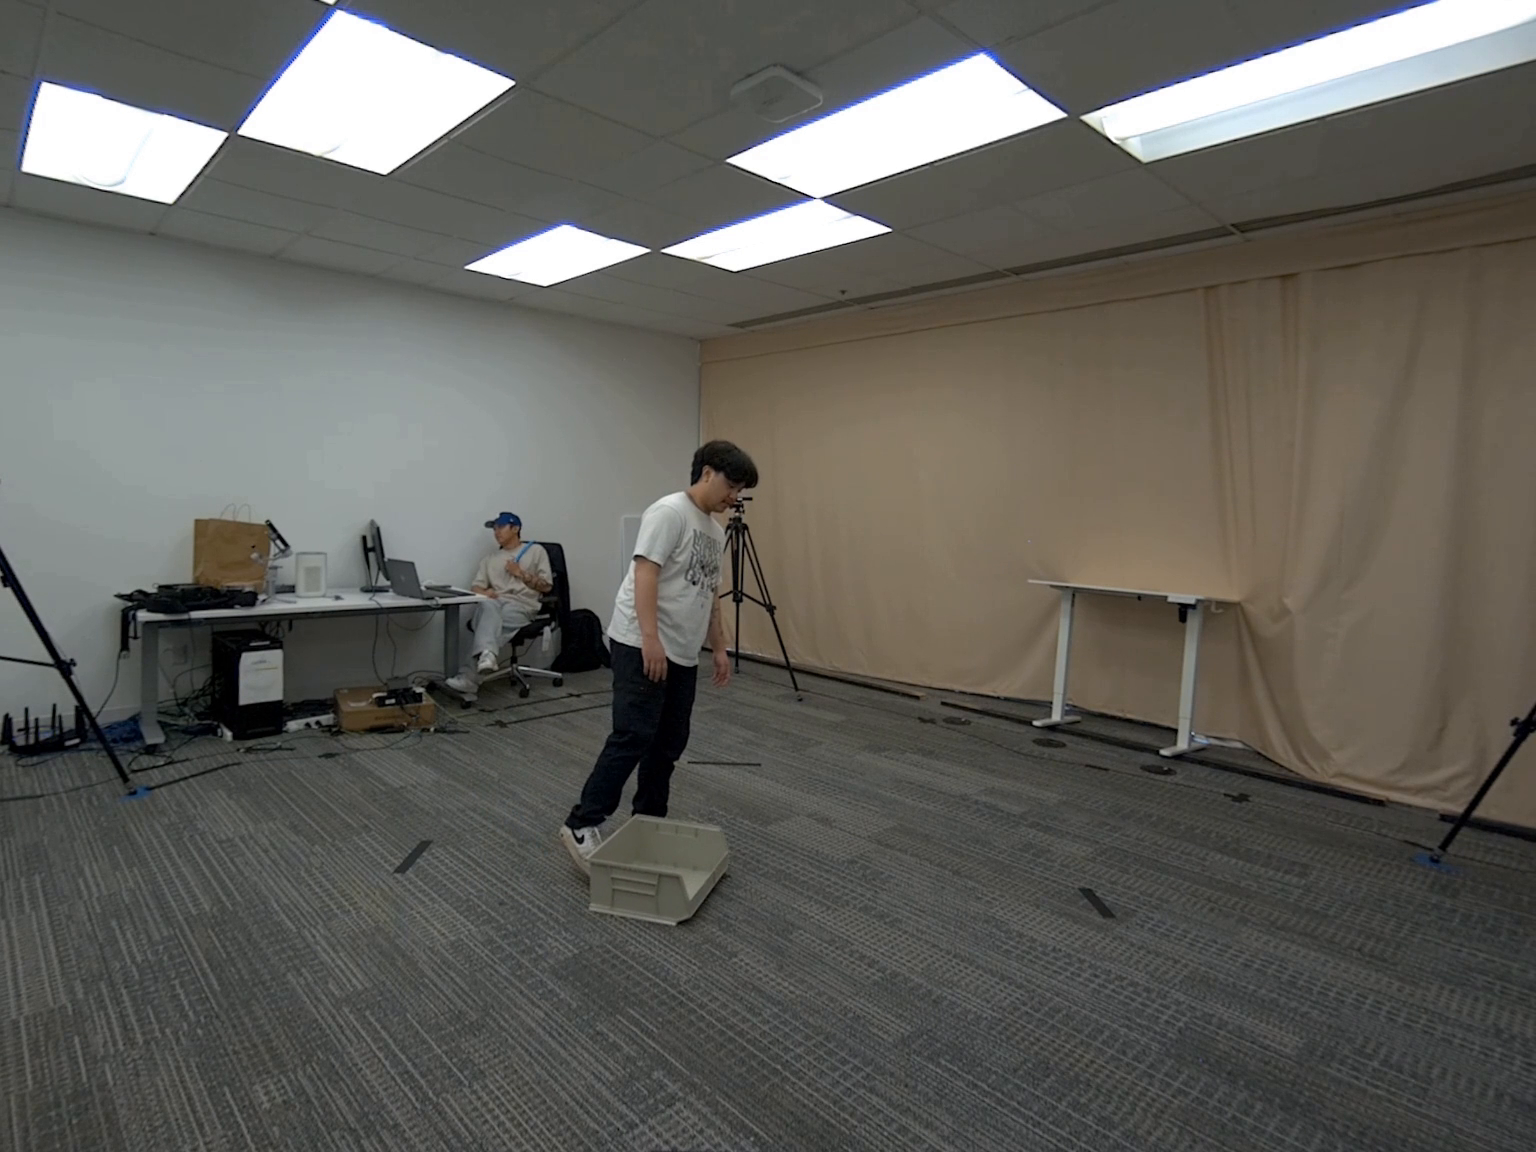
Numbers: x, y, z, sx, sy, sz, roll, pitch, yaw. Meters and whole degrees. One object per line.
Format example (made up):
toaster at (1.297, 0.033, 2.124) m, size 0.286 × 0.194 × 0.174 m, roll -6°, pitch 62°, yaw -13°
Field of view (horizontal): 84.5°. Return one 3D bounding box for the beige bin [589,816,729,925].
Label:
beige bin at (-0.380, 1.028, 2.962) m, size 0.382 × 0.188 × 0.418 m, roll 1°, pitch 5°, yaw 15°
